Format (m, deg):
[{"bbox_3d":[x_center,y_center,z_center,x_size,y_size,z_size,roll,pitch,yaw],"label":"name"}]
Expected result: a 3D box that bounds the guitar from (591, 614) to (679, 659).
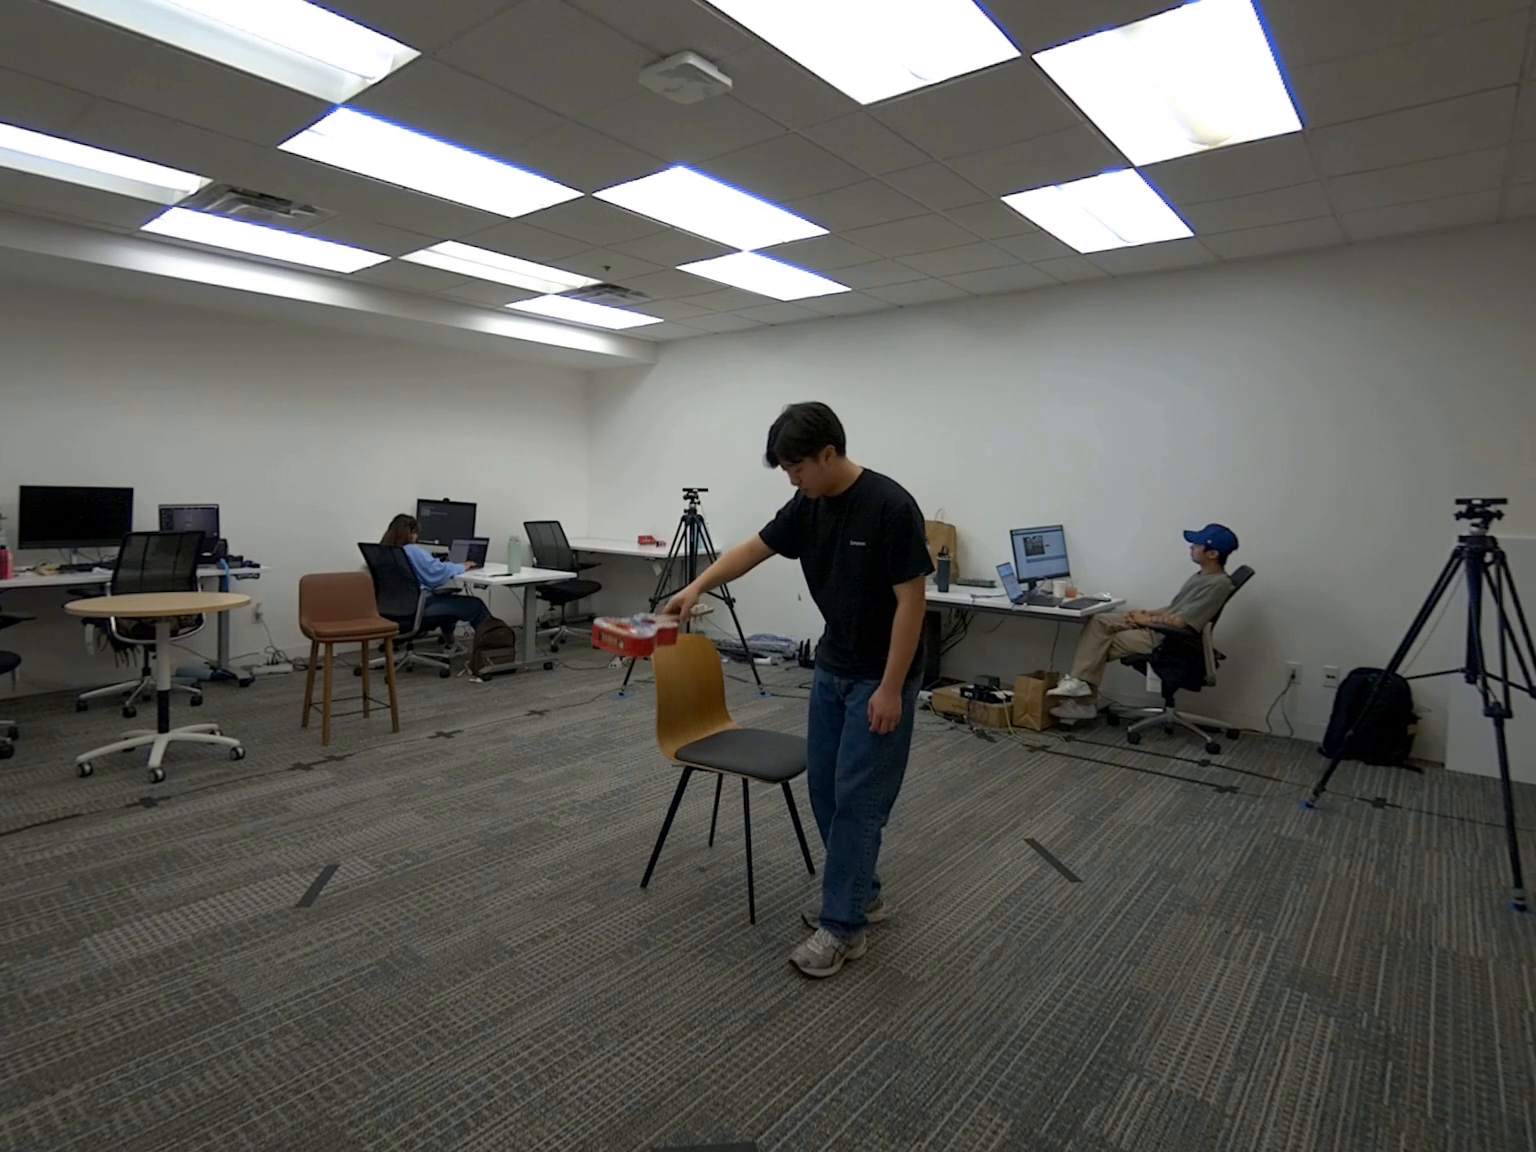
[{"bbox_3d":[-0.307,0.162,2.569,0.200,0.070,0.483,18,14,38],"label":"guitar"}]
